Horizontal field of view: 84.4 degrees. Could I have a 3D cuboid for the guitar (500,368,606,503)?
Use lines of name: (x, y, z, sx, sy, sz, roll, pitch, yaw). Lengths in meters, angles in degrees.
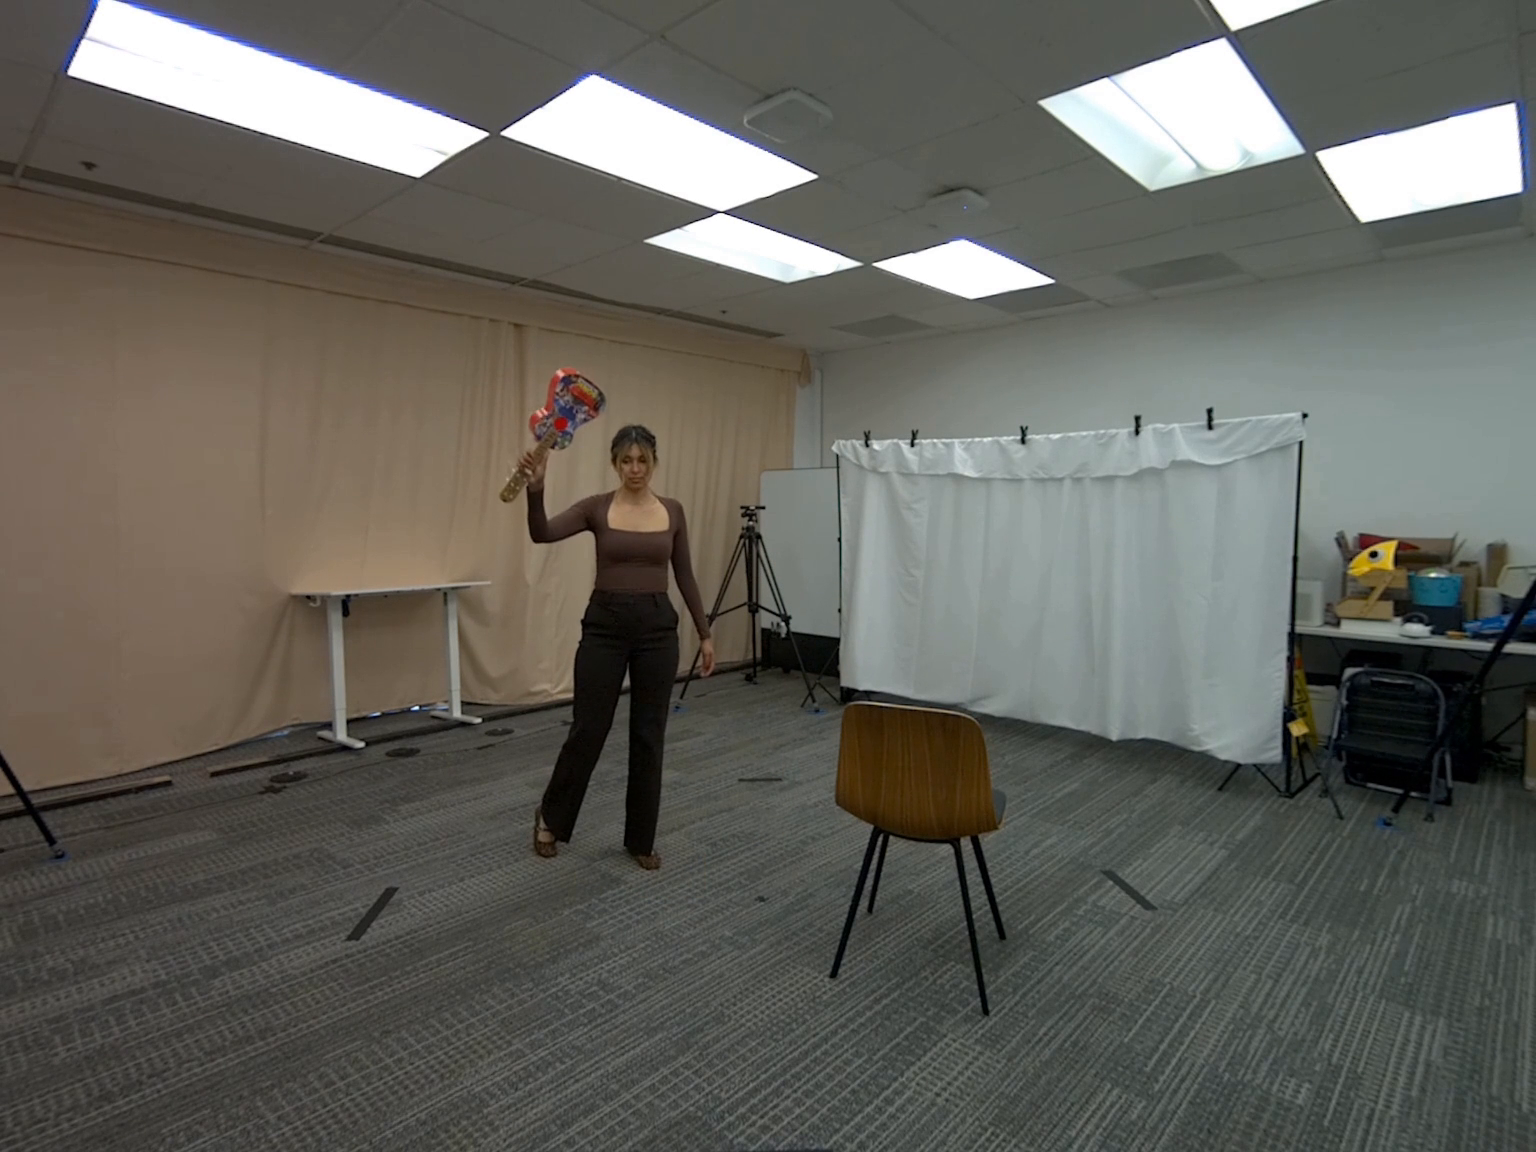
guitar: (-0.763, -0.472, 2.810, 0.186, 0.498, 0.073, 44, 1, -39)
